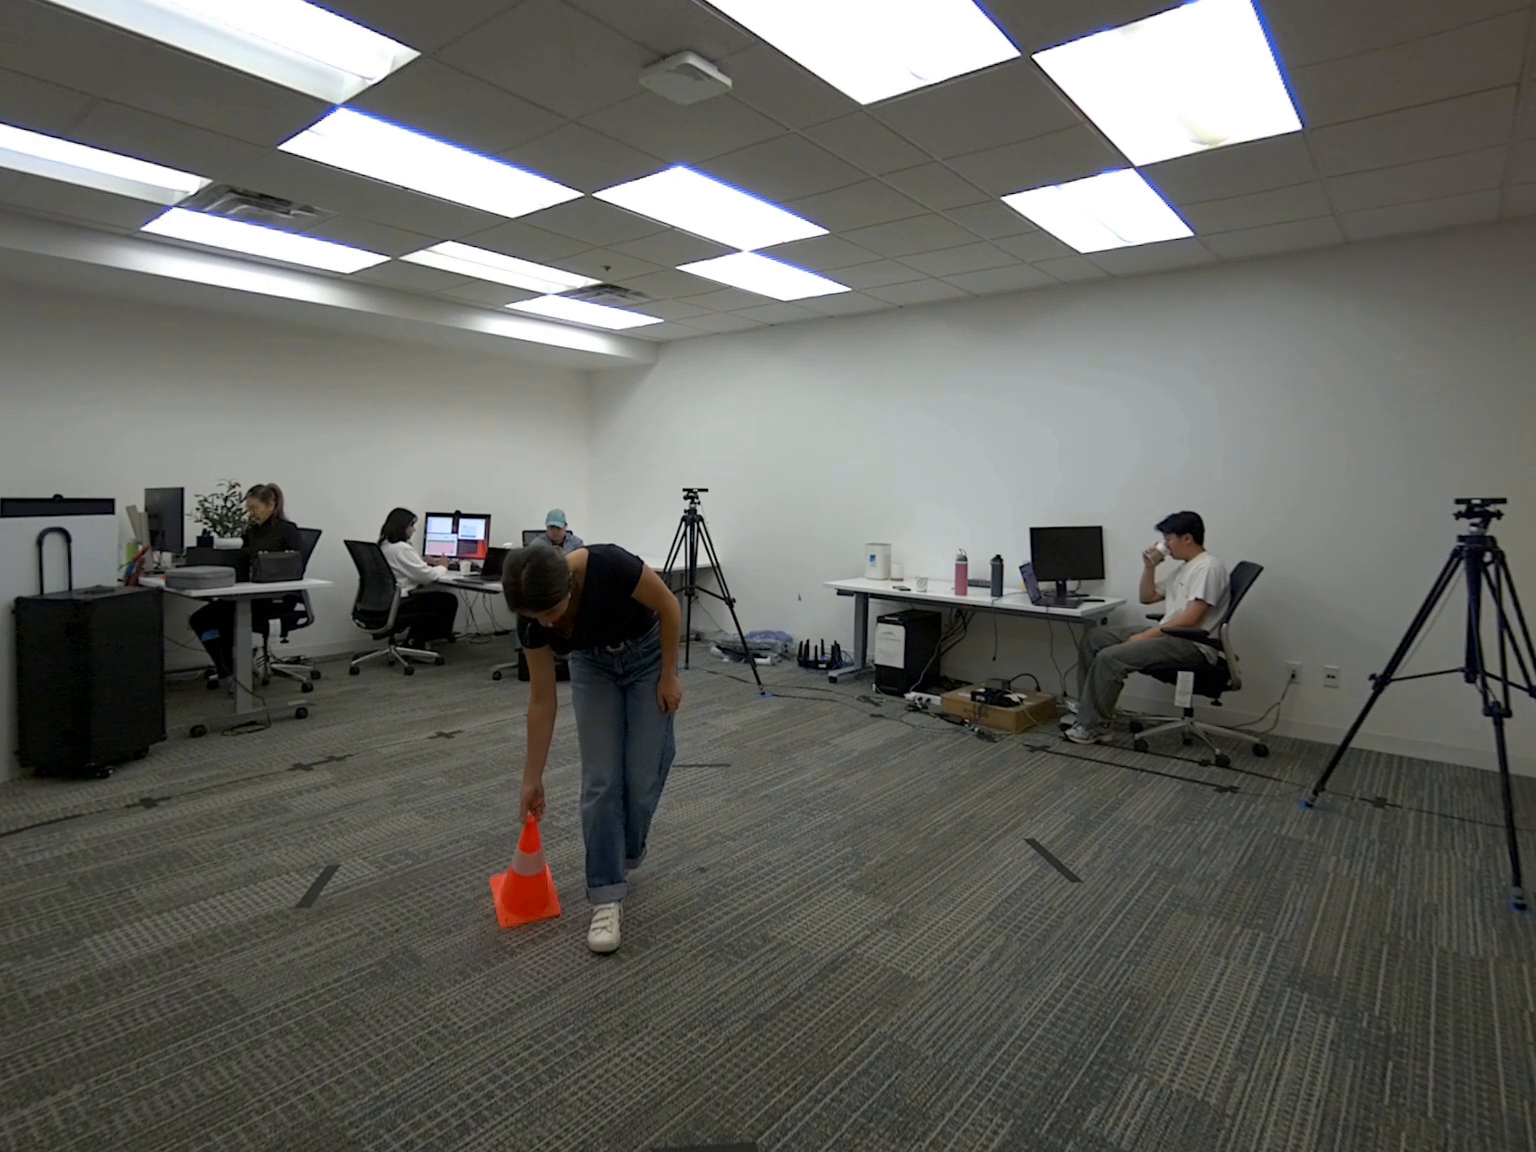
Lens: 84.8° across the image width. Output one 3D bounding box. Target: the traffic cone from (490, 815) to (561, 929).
[{"bbox_3d":[-0.763,0.888,2.700,0.199,0.376,0.213,-2,33,-23],"label":"traffic cone"}]
